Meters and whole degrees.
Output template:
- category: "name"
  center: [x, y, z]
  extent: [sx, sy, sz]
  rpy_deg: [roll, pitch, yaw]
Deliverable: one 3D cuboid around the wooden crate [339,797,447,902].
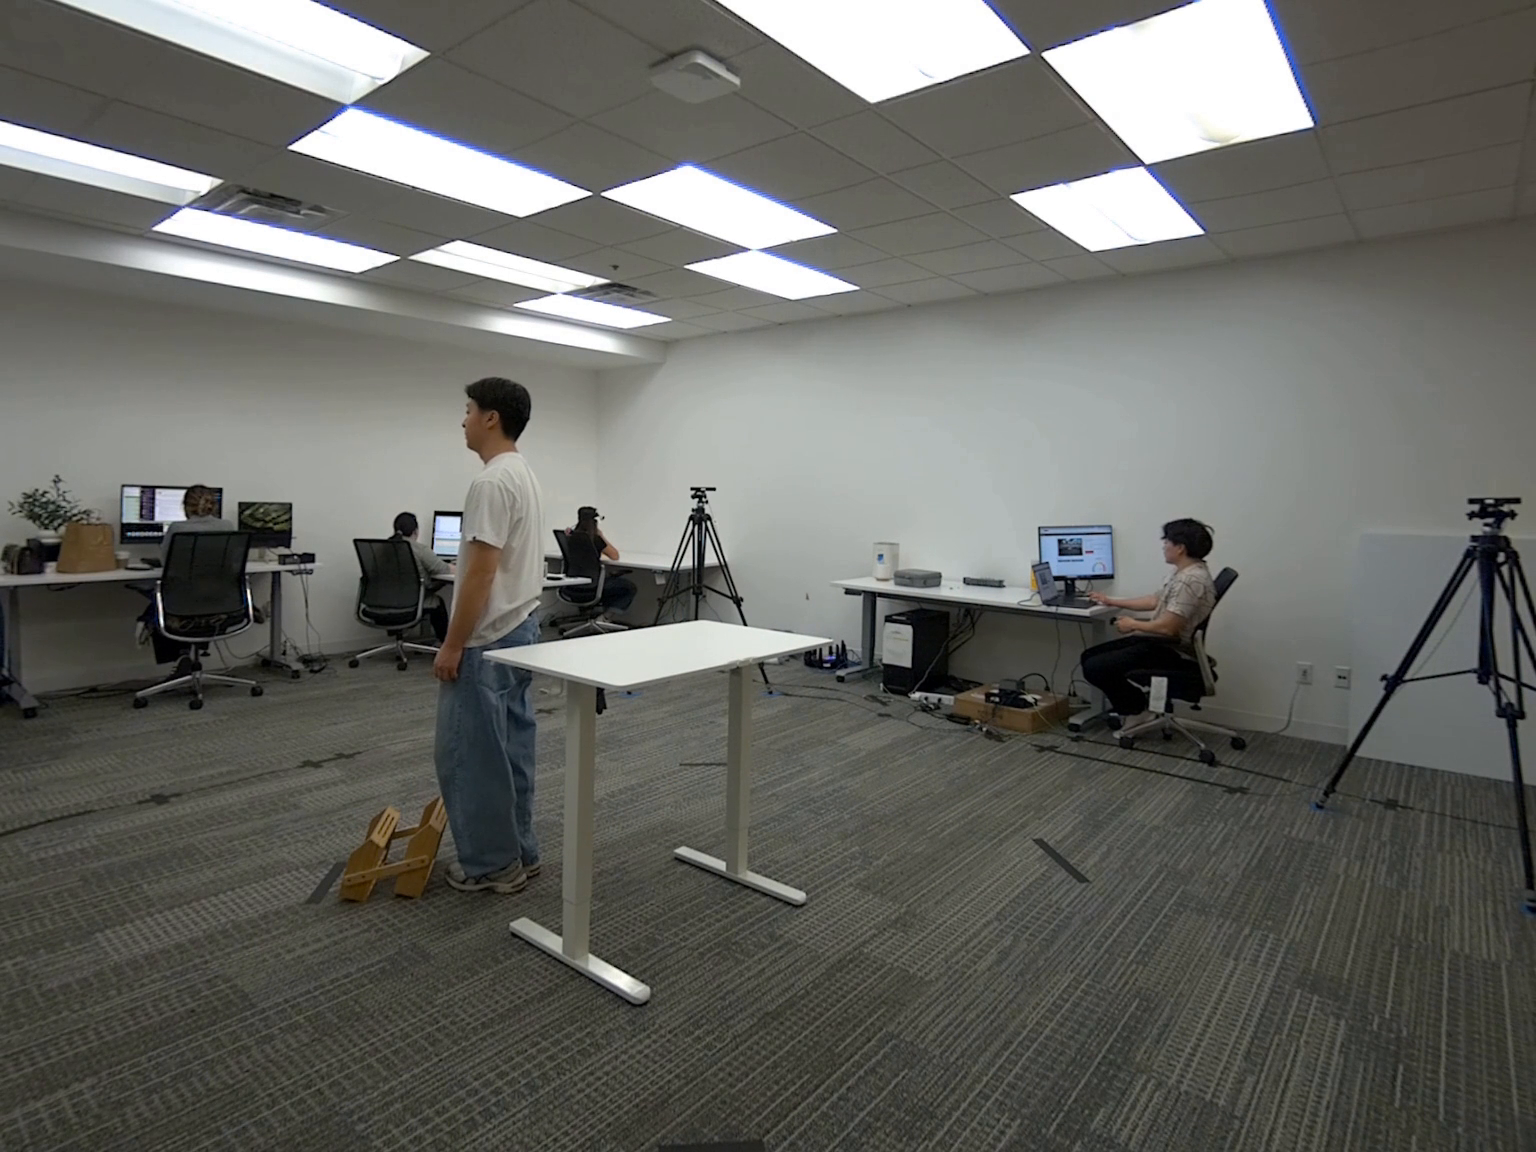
- category: "wooden crate"
  center: [-1.313, 0.934, 2.975]
  extent: [0.269, 0.302, 0.329]
  rpy_deg: [17, 1, -12]
